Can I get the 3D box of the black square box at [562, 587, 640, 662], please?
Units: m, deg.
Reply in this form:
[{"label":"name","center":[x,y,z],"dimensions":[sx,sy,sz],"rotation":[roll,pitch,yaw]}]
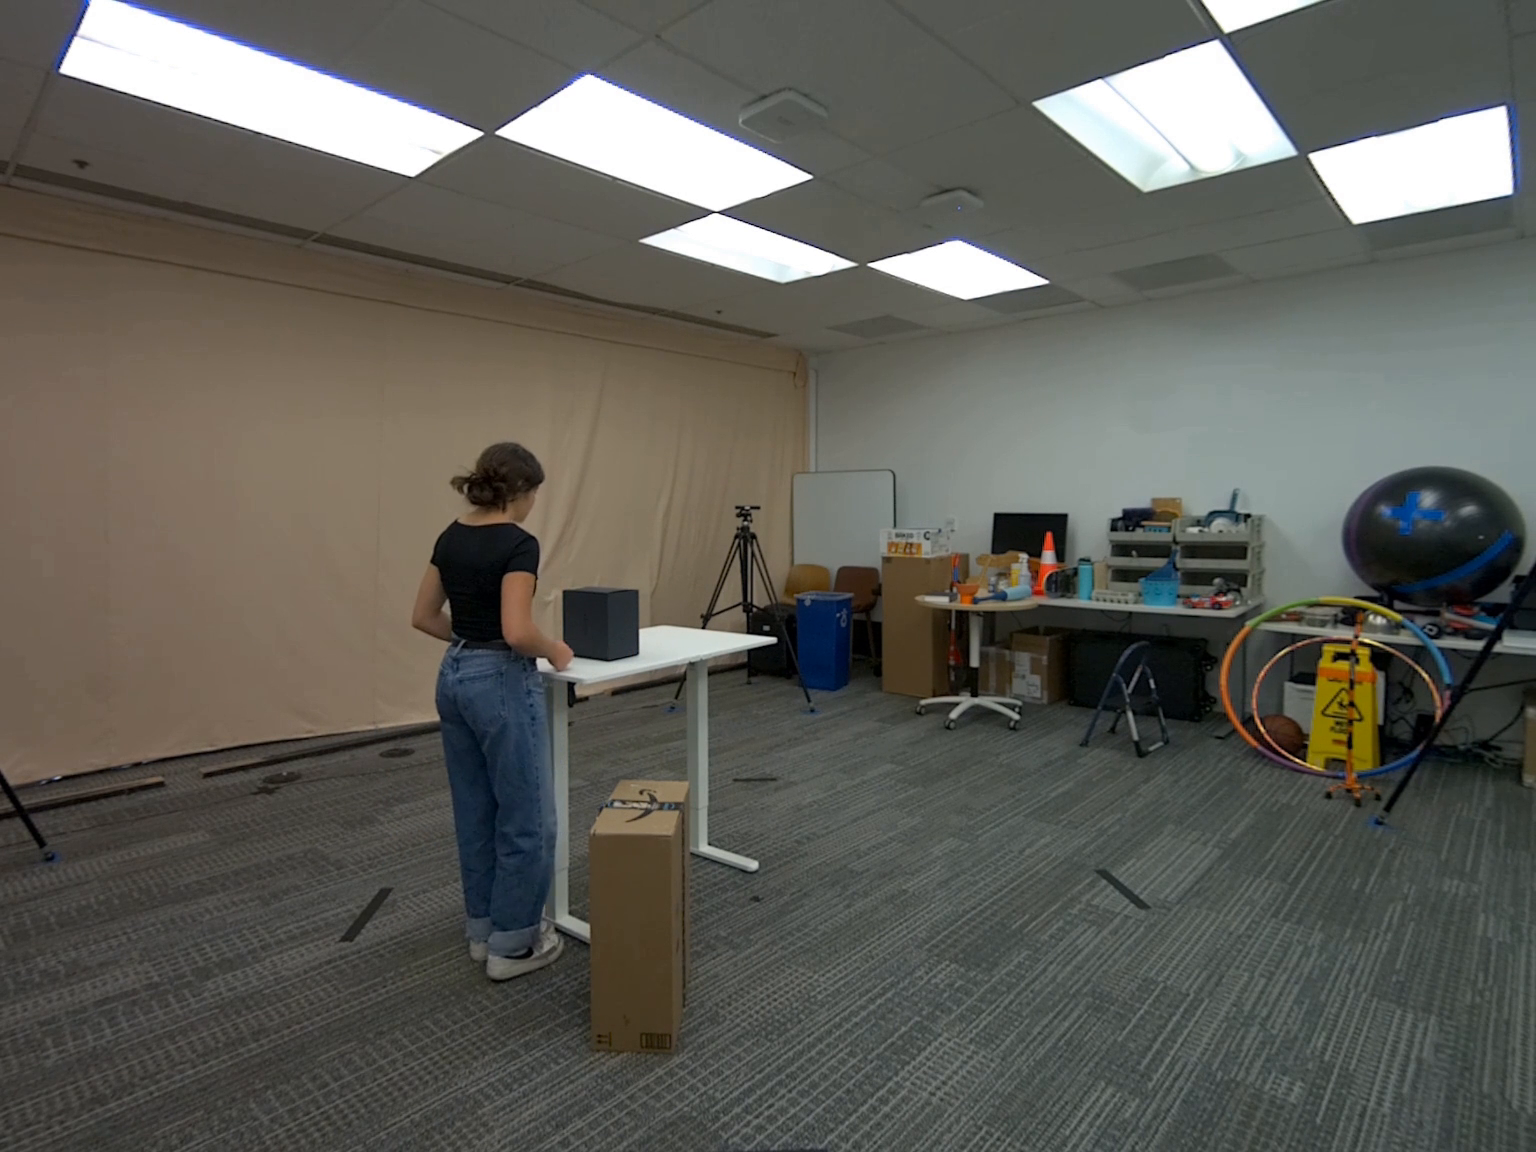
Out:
[{"label":"black square box","center":[-0.571,0.159,2.887],"dimensions":[0.223,0.227,0.151],"rotation":[2,3,33]}]
